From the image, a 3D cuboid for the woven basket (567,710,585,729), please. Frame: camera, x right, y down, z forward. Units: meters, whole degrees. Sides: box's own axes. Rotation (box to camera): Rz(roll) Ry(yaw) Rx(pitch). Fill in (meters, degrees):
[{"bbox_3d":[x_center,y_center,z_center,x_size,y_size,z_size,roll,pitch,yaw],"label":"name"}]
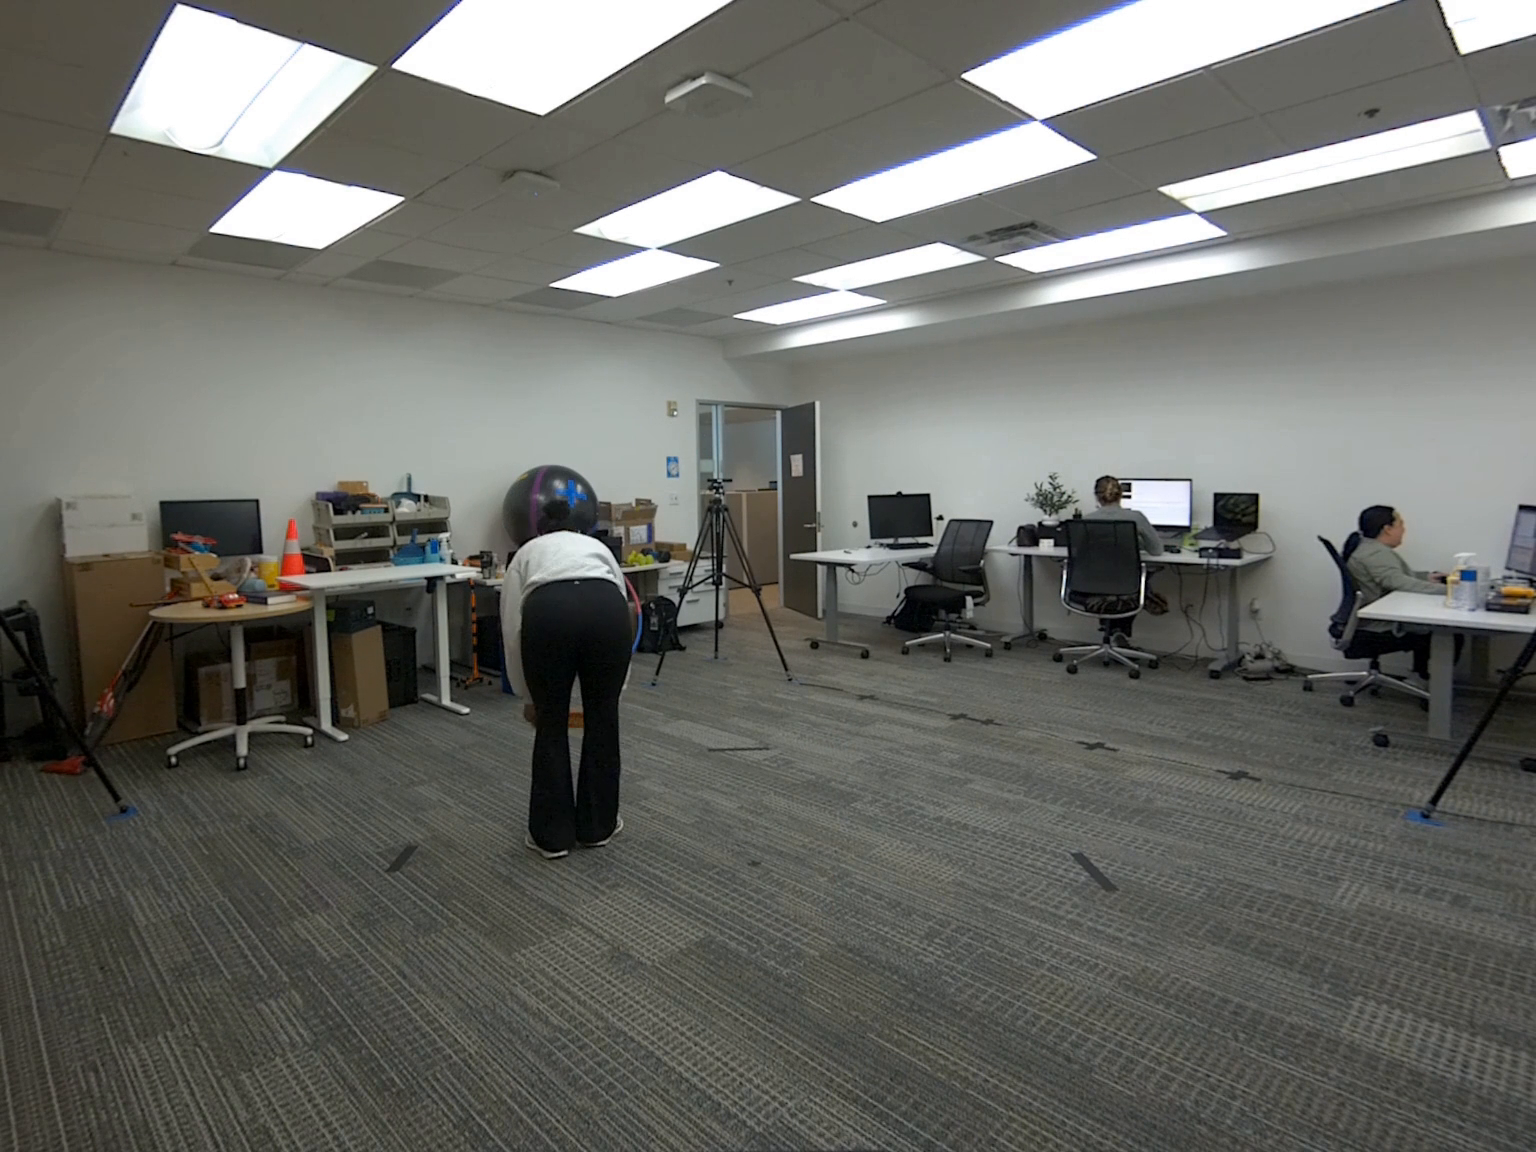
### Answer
[{"bbox_3d":[-0.836,0.597,3.563,0.343,0.074,0.255,4,-9,-22],"label":"woven basket"}]
